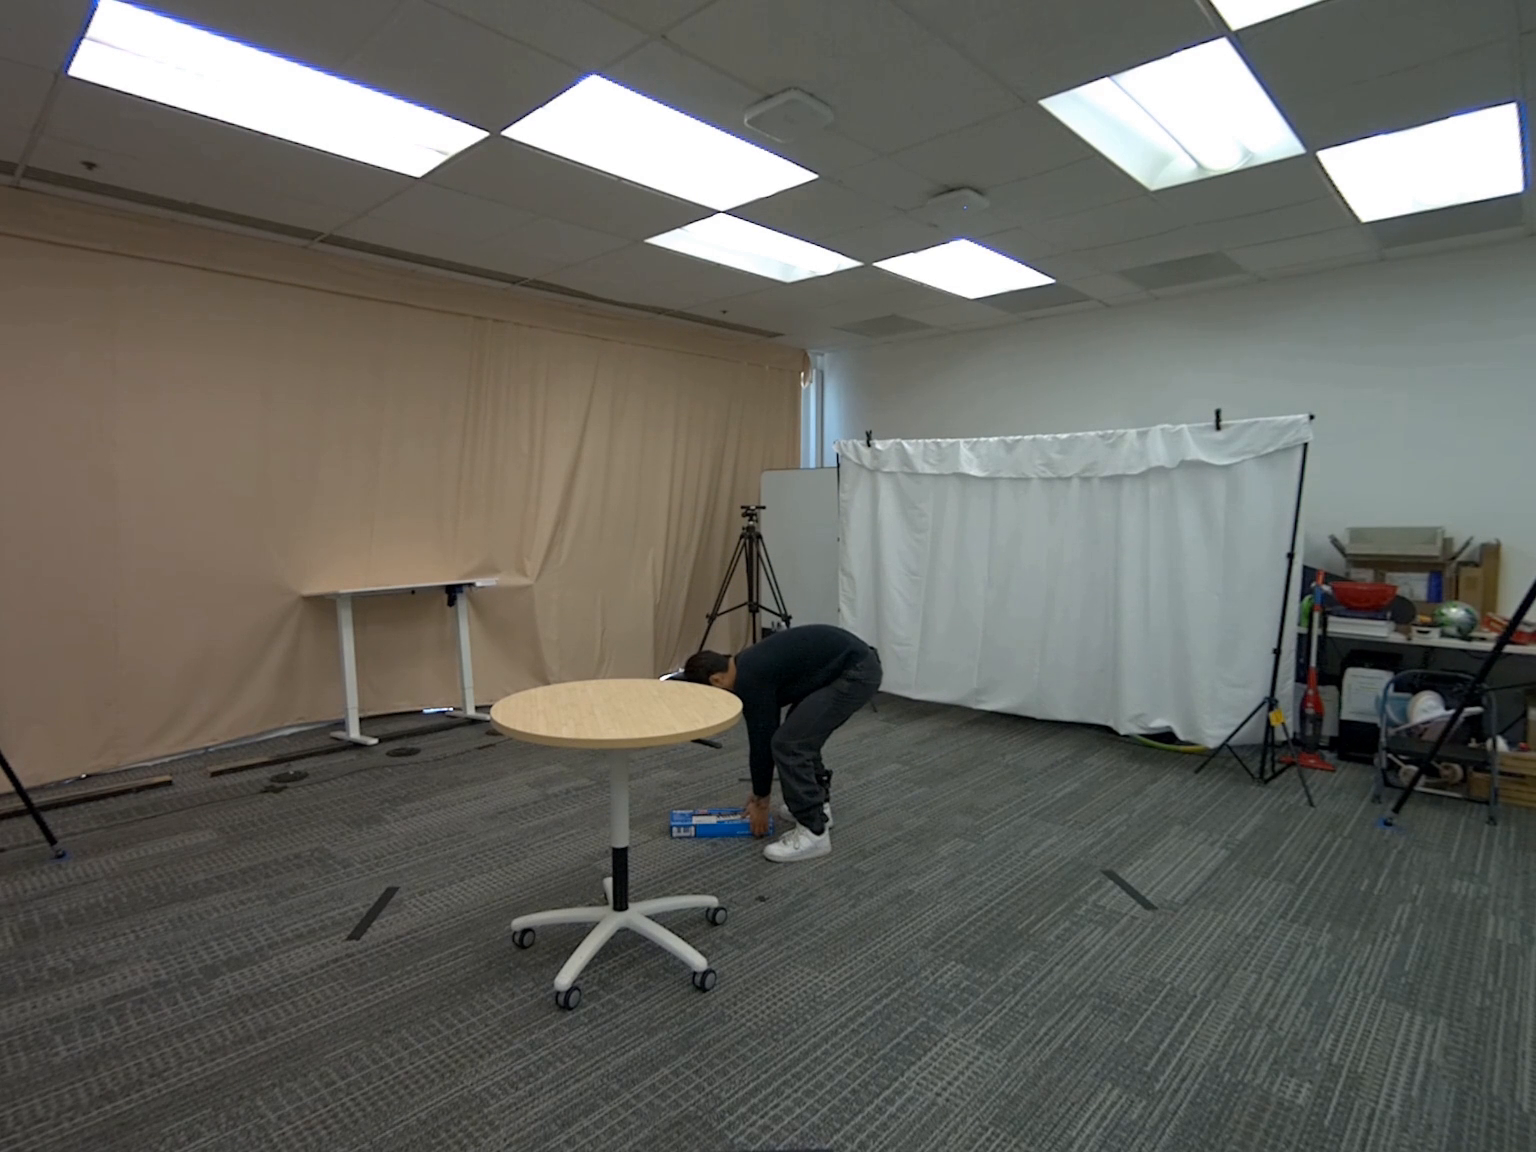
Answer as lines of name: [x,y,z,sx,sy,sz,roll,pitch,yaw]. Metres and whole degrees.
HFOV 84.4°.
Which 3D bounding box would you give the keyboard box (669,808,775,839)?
keyboard box: [-0.205,1.063,3.626,0.434,0.059,0.177,-1,4,-5]
